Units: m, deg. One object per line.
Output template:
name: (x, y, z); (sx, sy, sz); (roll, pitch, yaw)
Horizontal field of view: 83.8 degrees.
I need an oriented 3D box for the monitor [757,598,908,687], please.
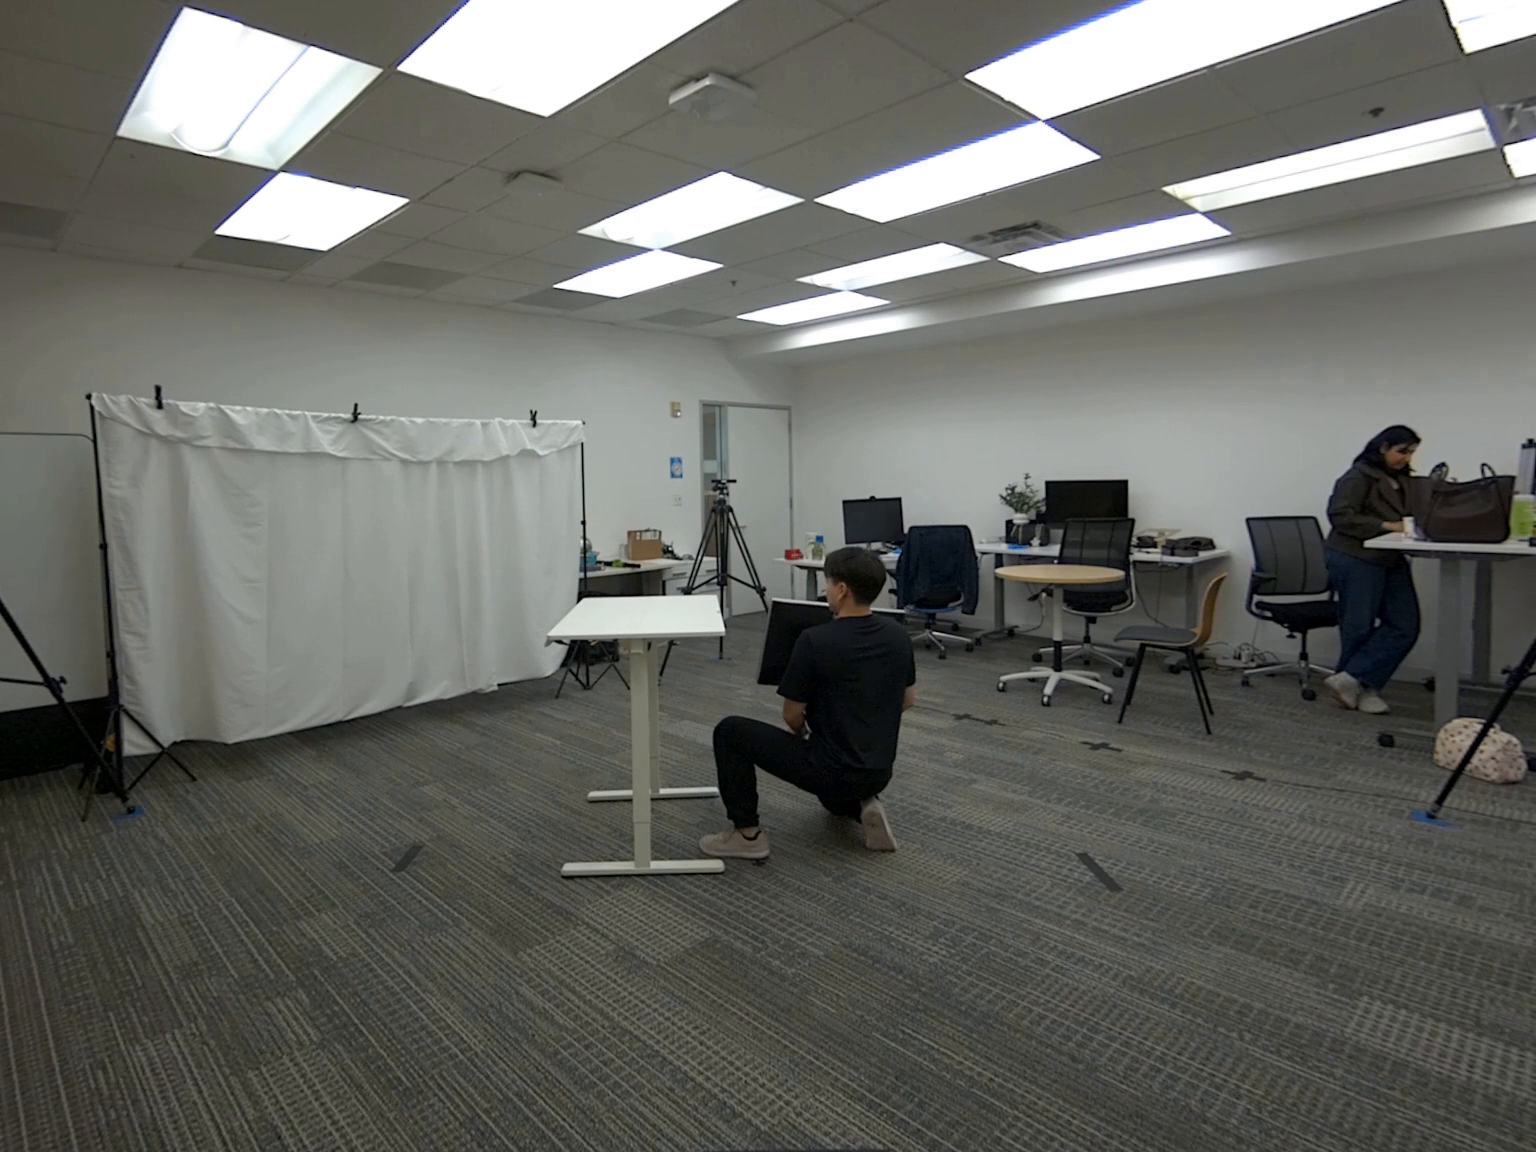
monitor: (0.259, 0.380, 3.384); (0.531, 0.520, 0.191); (6, 6, -15)
